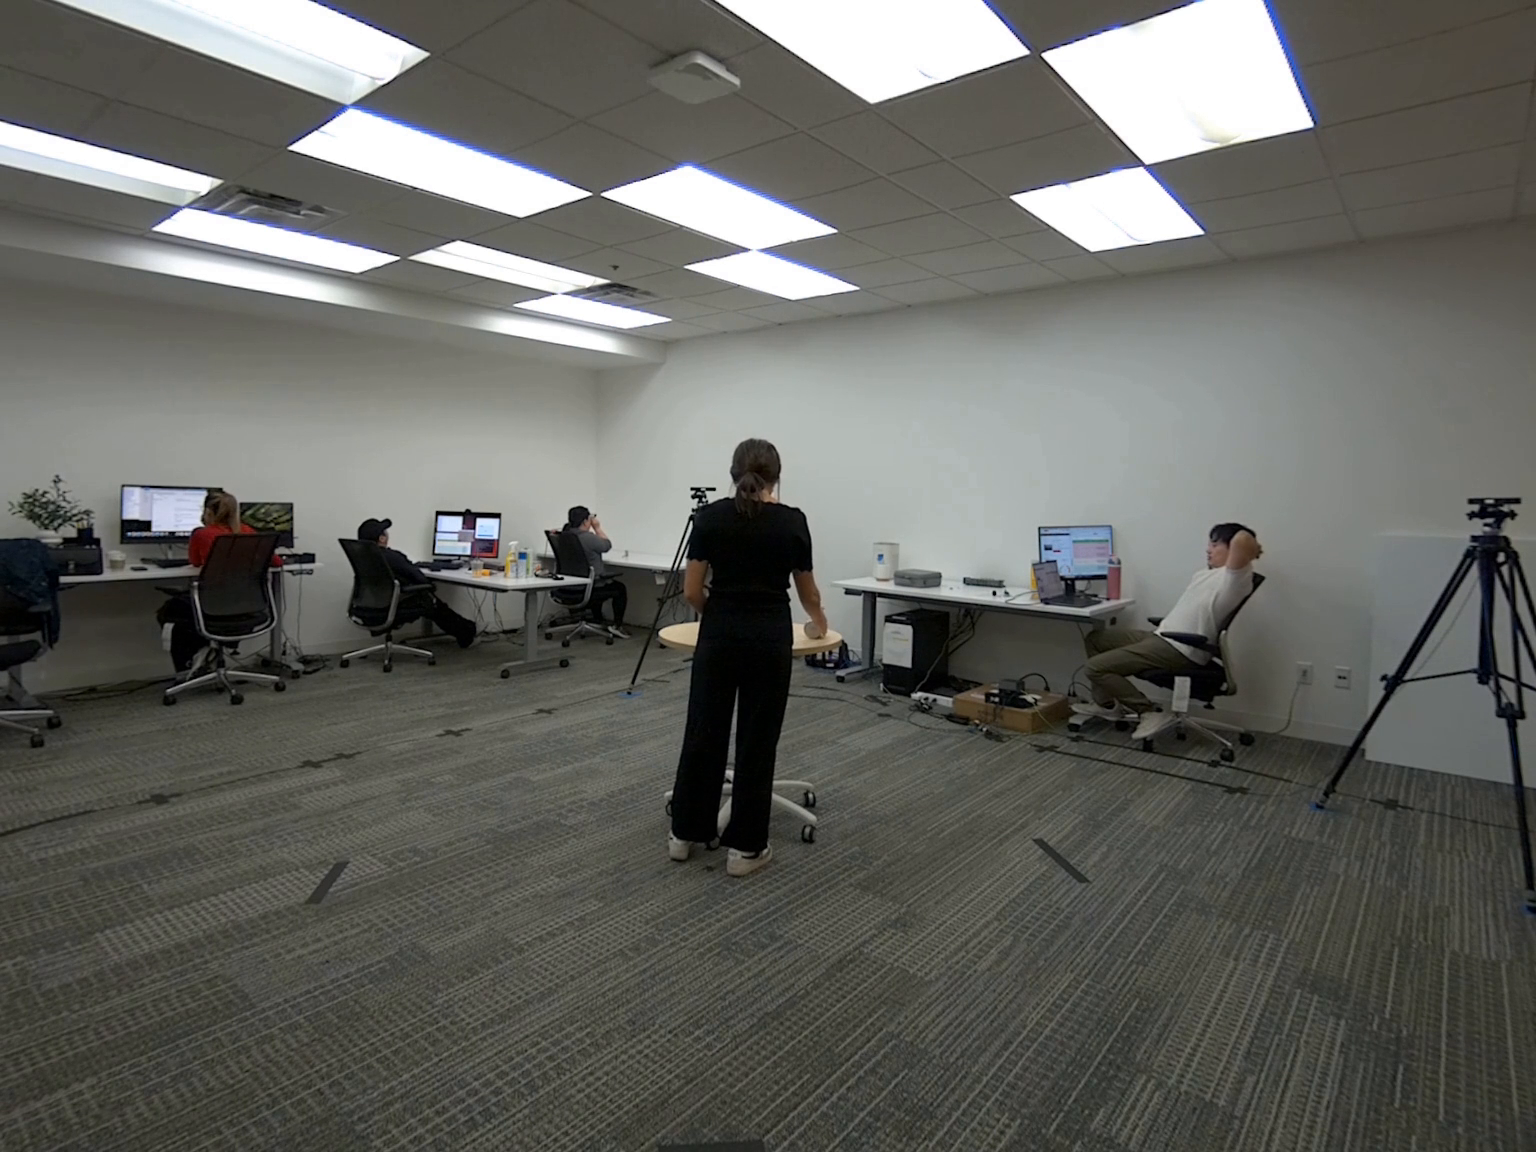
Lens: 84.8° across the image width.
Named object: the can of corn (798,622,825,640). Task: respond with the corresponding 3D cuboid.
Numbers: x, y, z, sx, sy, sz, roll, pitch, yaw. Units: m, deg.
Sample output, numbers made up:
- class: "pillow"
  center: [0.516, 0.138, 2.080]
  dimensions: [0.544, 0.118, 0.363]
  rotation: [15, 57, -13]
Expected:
- class: "can of corn"
  center: [0.183, 0.209, 3.525]
  dimensions: [0.075, 0.074, 0.110]
  rotation: [2, 6, 13]
